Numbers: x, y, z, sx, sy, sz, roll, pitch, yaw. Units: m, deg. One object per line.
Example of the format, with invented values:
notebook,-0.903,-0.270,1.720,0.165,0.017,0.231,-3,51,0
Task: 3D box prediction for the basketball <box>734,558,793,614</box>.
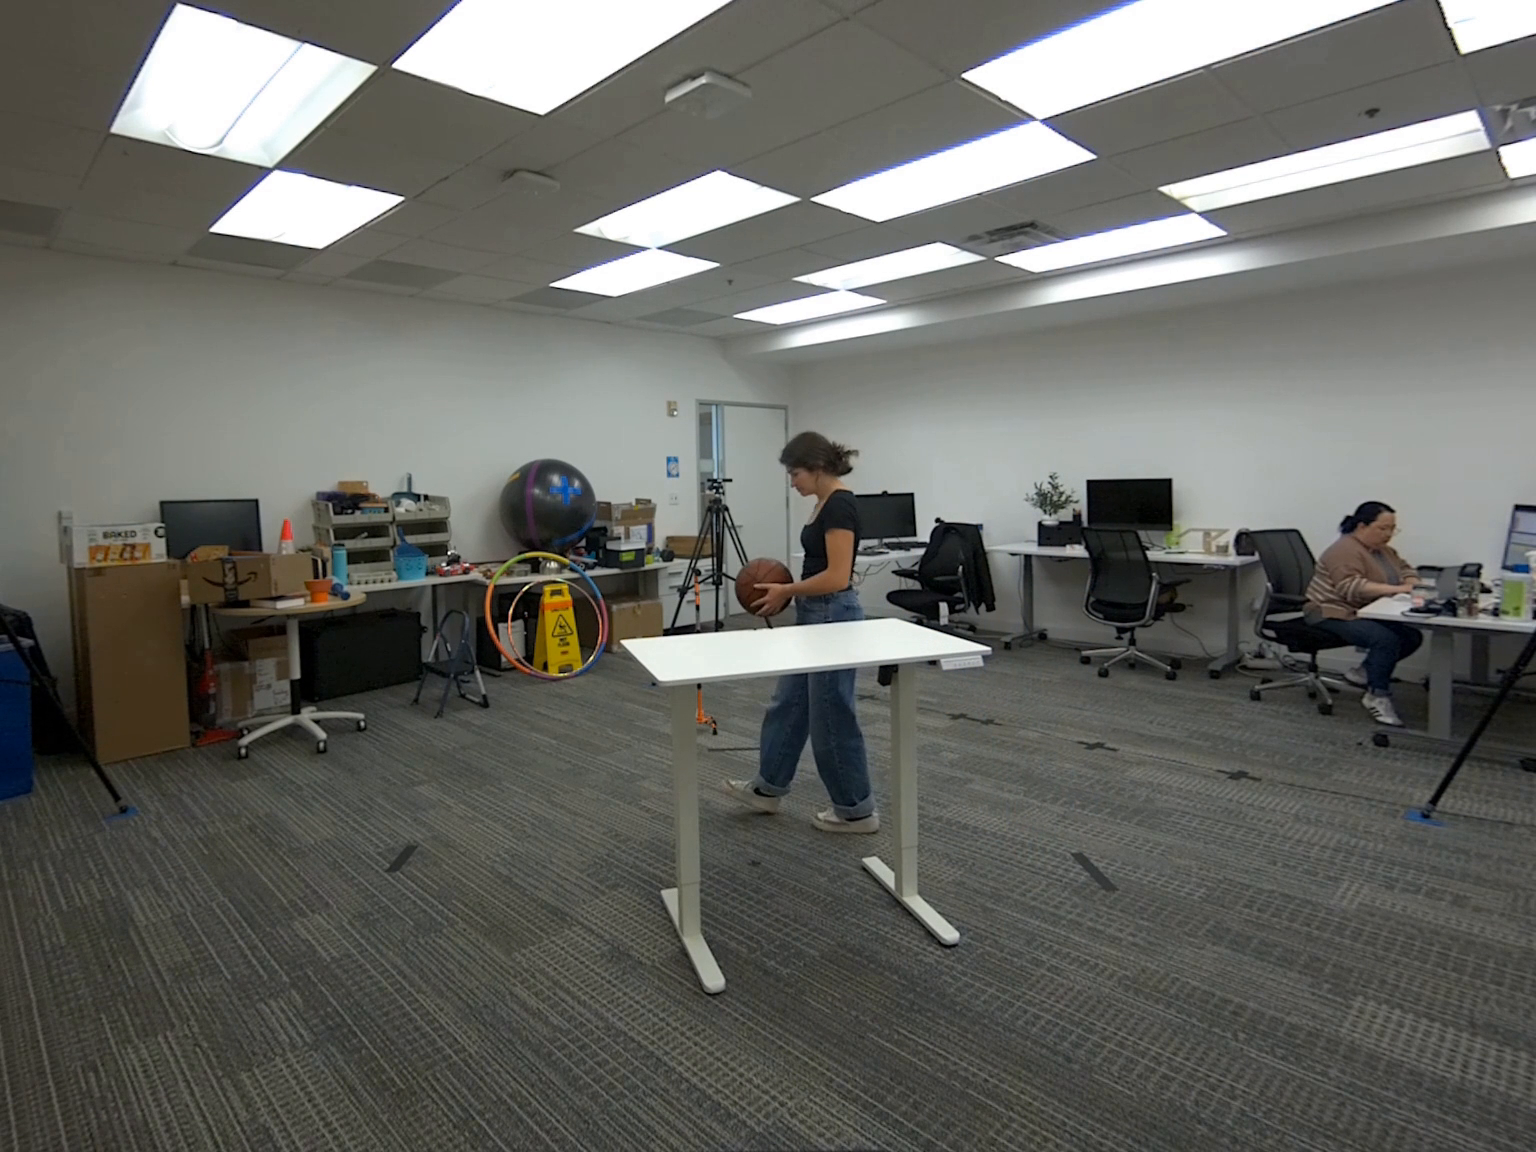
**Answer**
basketball,-0.005,0.044,3.421,0.236,0.235,0.237,-1,5,-2
